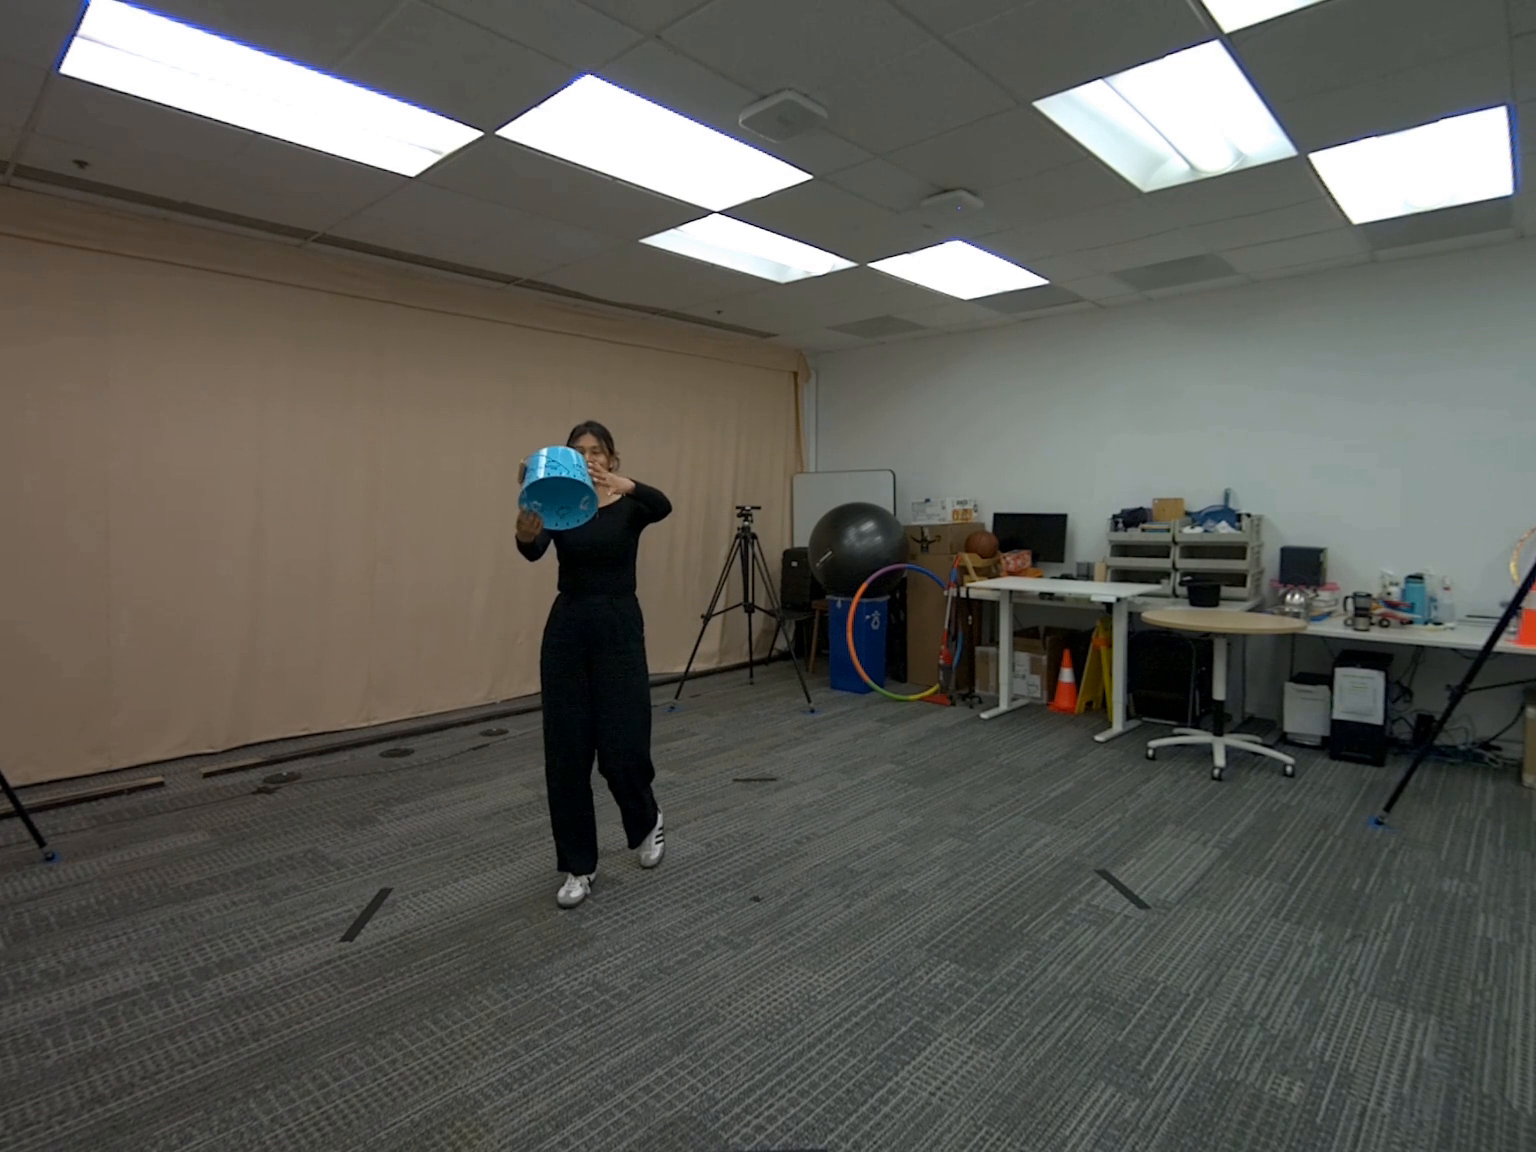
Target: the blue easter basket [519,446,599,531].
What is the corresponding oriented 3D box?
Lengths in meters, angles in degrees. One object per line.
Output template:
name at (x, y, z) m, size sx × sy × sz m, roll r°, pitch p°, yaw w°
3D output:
blue easter basket at (-0.626, -0.270, 2.524) m, size 0.242 × 0.160 × 0.239 m, roll -6°, pitch -39°, yaw -7°
